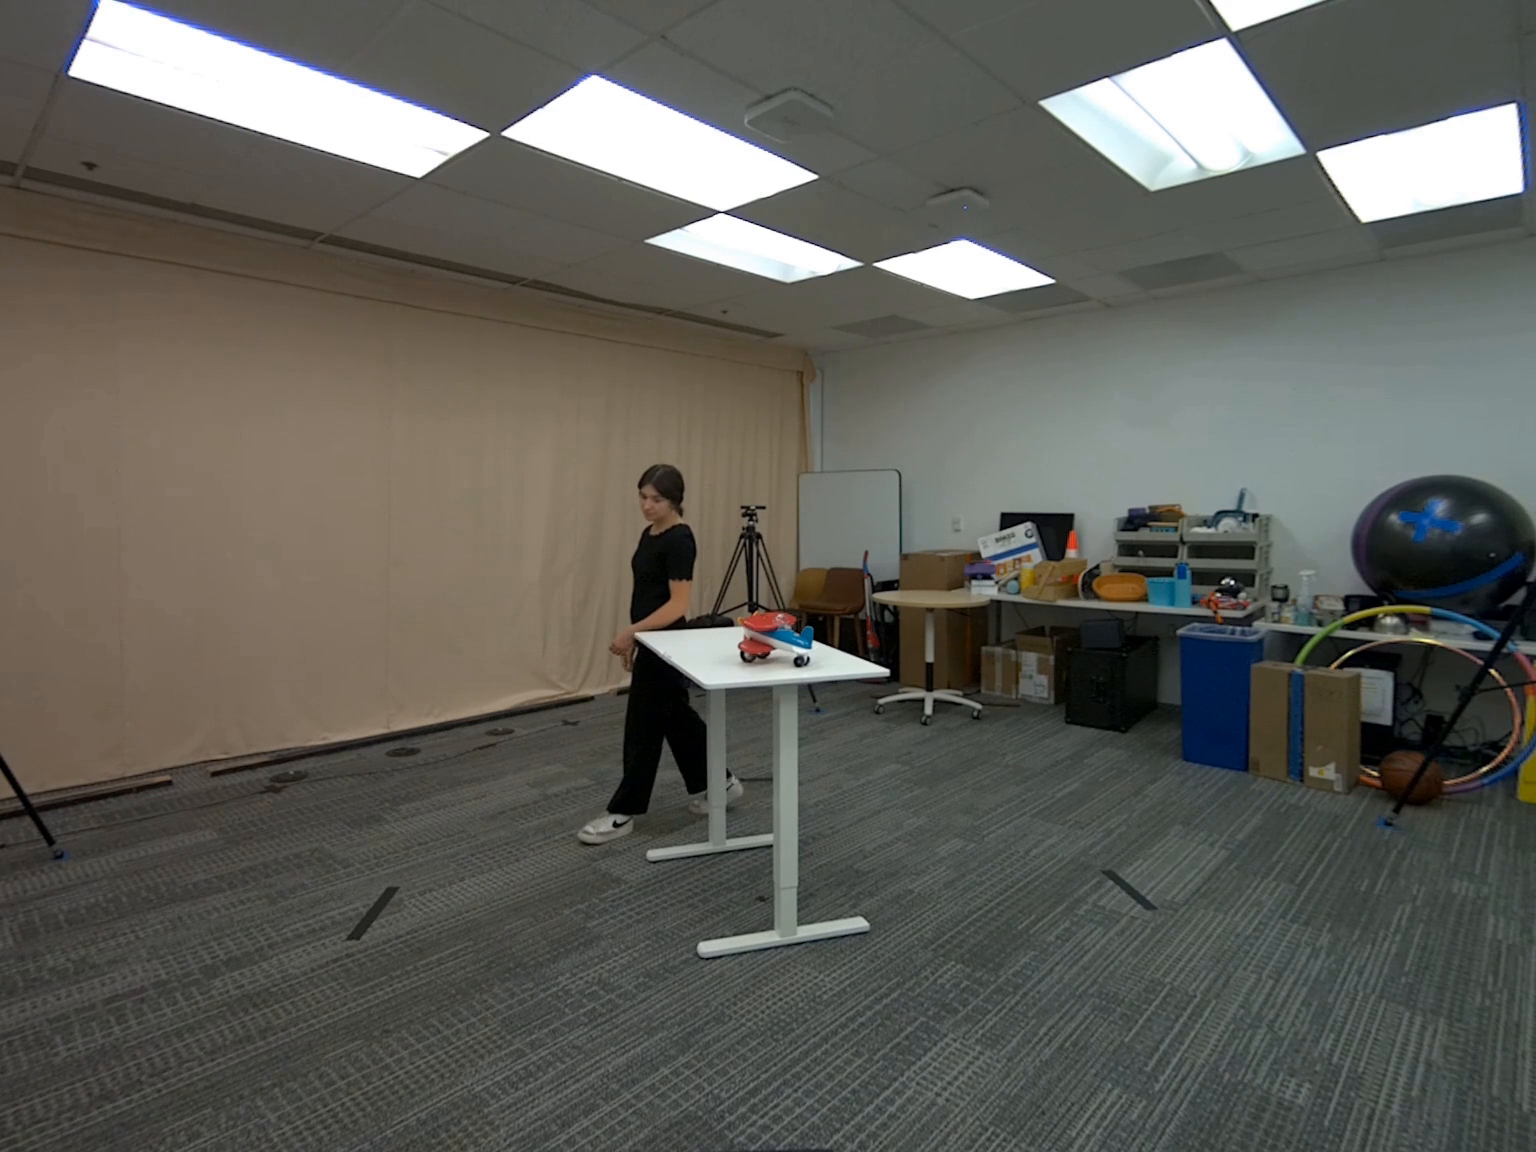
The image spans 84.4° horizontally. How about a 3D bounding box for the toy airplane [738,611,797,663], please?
[{"bbox_3d":[0.040,0.206,2.752,0.261,0.156,0.250,0,5,5],"label":"toy airplane"}]
